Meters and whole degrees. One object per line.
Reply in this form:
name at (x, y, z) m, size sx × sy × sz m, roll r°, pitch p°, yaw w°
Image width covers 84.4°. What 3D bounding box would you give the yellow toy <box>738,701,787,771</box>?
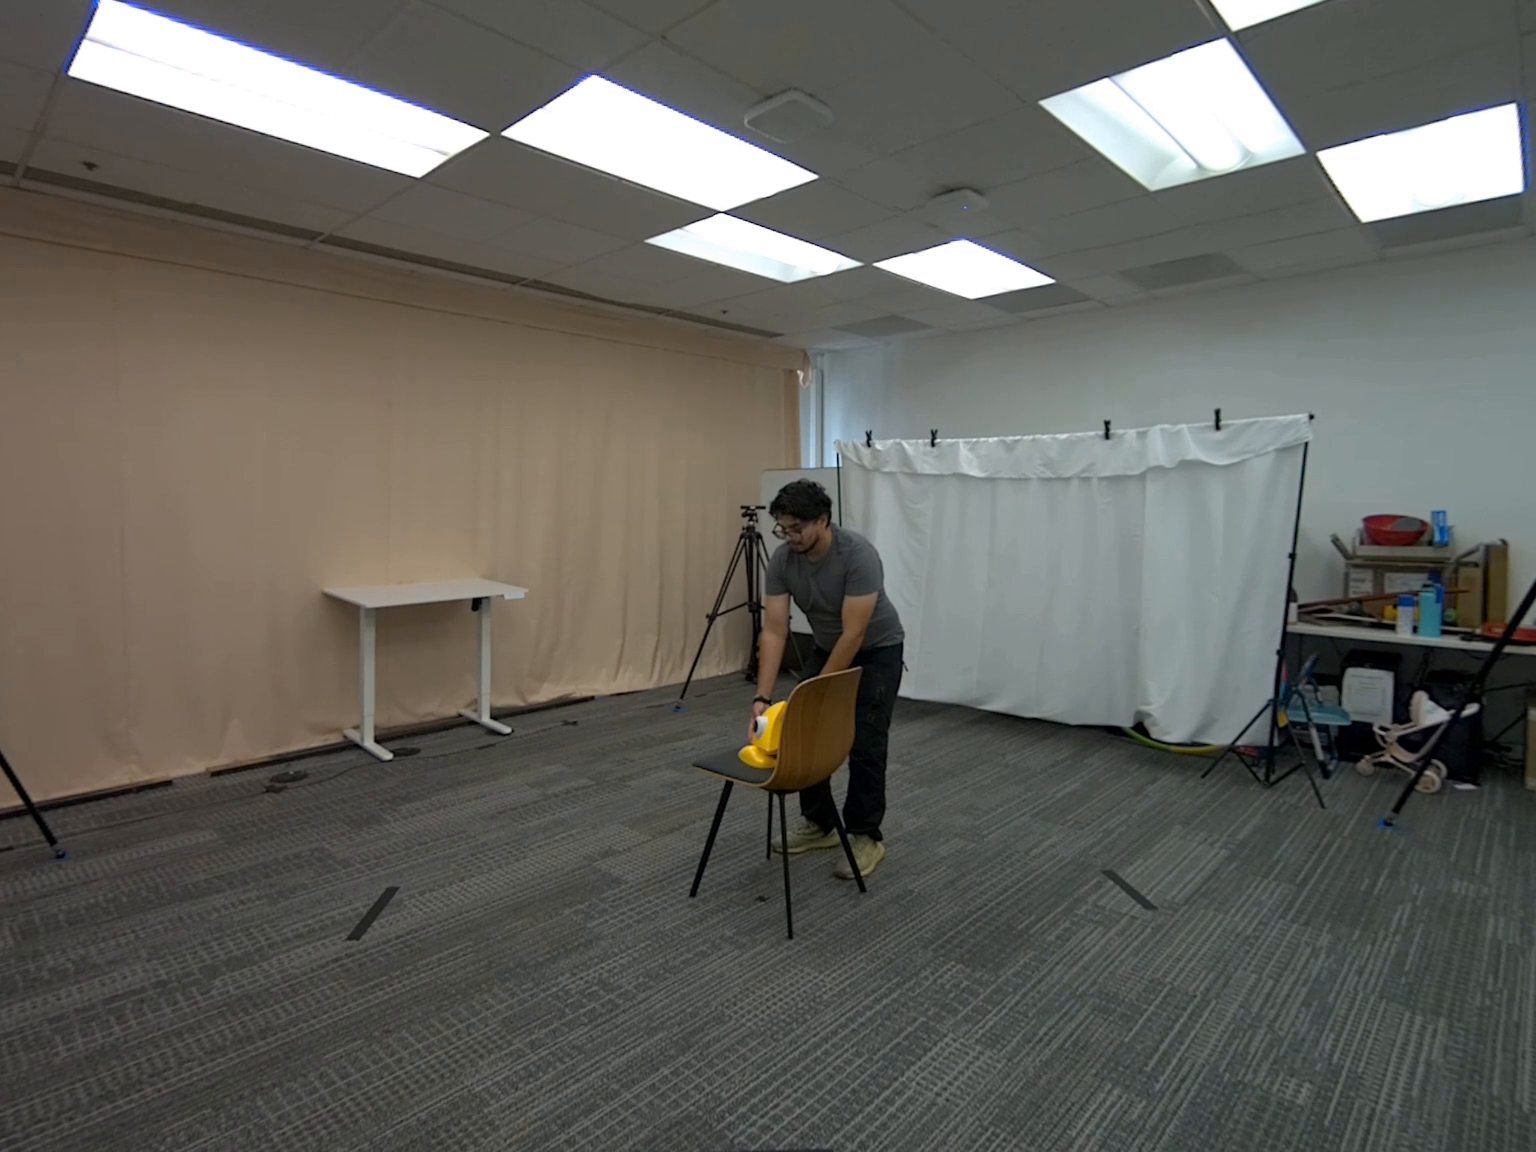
yellow toy at (0.014, 0.548, 3.029) m, size 0.199 × 0.229 × 0.200 m, roll -7°, pitch 12°, yaw -44°
